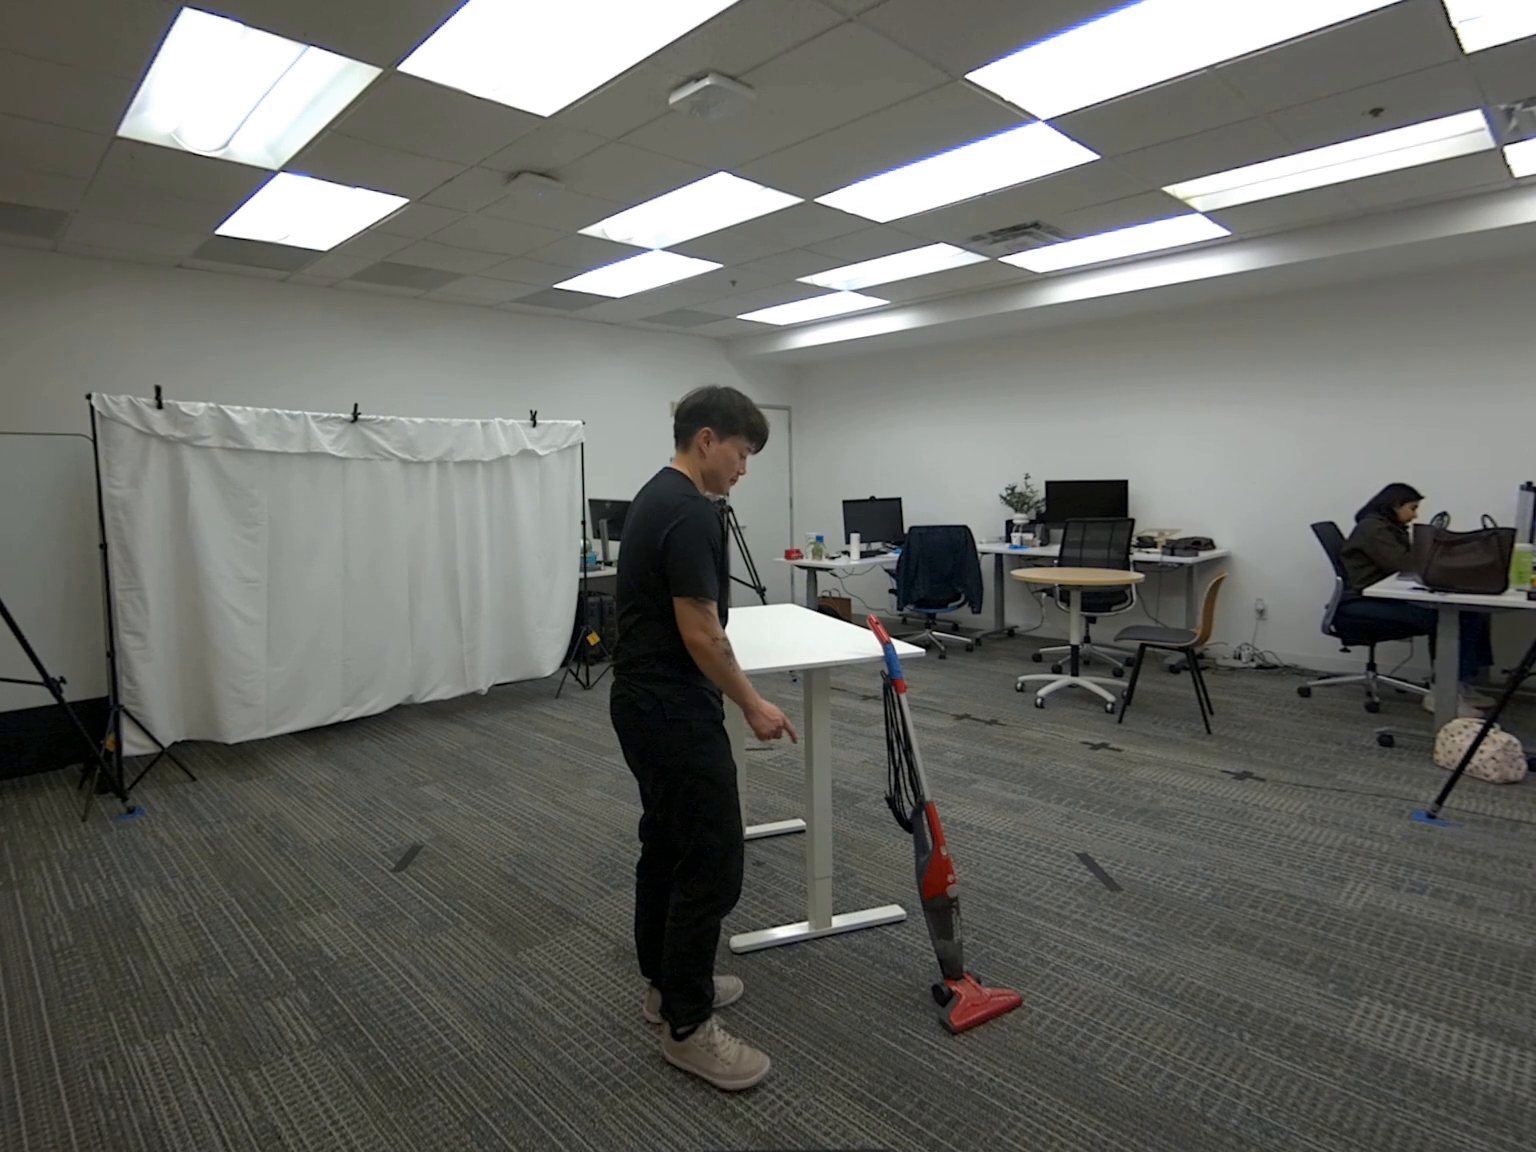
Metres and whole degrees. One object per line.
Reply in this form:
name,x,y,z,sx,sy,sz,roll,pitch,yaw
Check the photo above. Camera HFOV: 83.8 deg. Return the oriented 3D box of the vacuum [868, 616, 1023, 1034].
vacuum,0.431,0.636,2.388,0.246,1.067,0.145,-2,-19,-34
